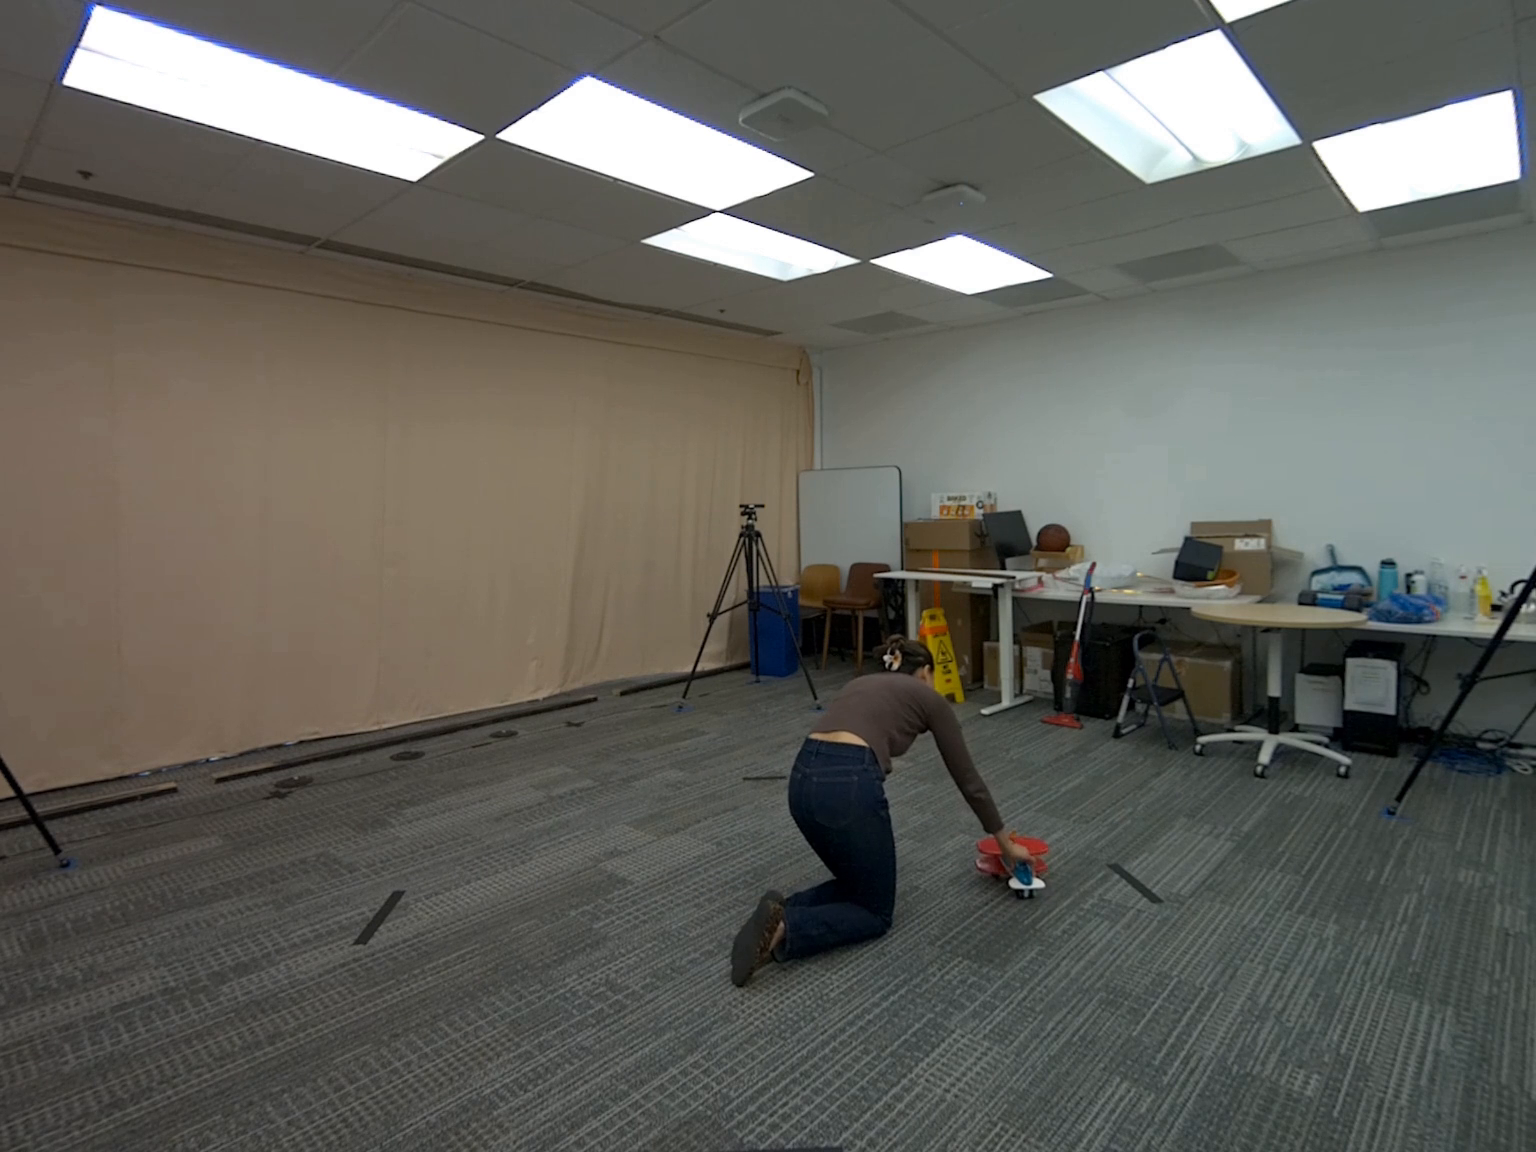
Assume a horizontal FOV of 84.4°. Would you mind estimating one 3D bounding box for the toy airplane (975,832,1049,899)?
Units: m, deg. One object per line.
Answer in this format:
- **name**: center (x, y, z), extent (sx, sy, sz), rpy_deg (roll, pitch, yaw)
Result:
- **toy airplane**: center (0.922, 1.048, 3.024), extent (0.244, 0.156, 0.267), rpy_deg (-2, 4, -32)
